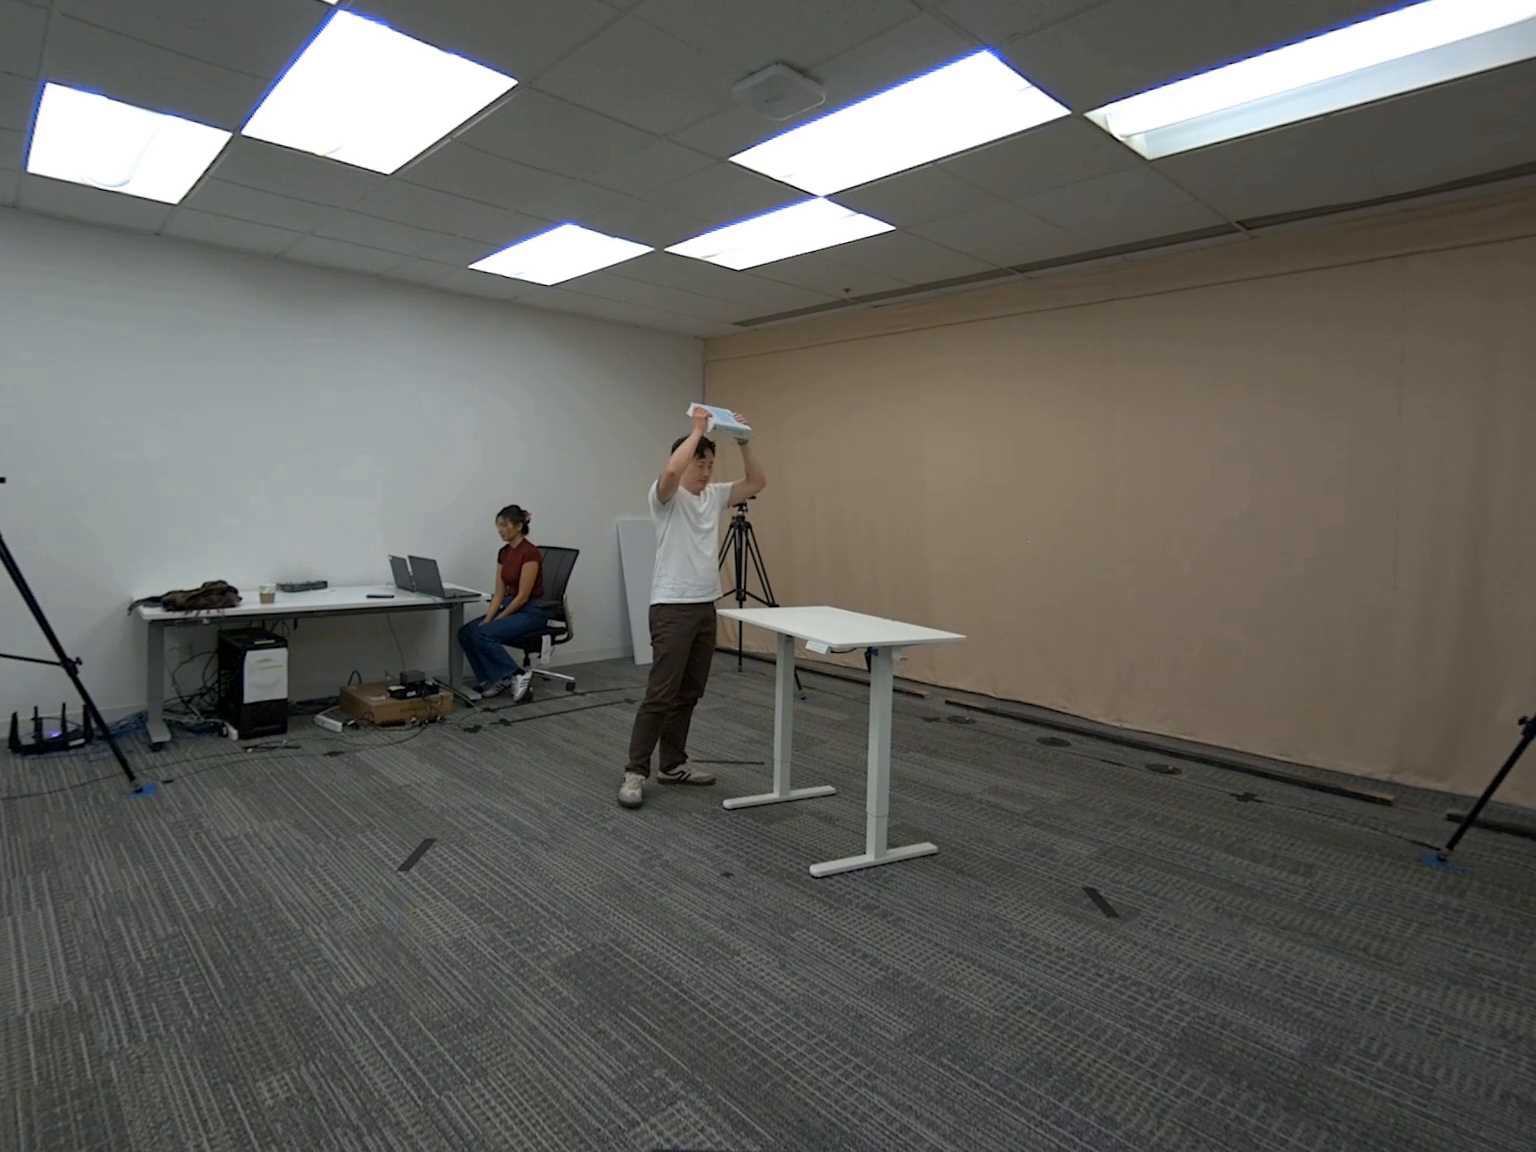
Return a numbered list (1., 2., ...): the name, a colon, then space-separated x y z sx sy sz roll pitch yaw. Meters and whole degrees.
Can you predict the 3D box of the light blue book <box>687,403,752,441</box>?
1. light blue book: -0.237 -0.706 3.939 0.255 0.059 0.197 1 35 -49
